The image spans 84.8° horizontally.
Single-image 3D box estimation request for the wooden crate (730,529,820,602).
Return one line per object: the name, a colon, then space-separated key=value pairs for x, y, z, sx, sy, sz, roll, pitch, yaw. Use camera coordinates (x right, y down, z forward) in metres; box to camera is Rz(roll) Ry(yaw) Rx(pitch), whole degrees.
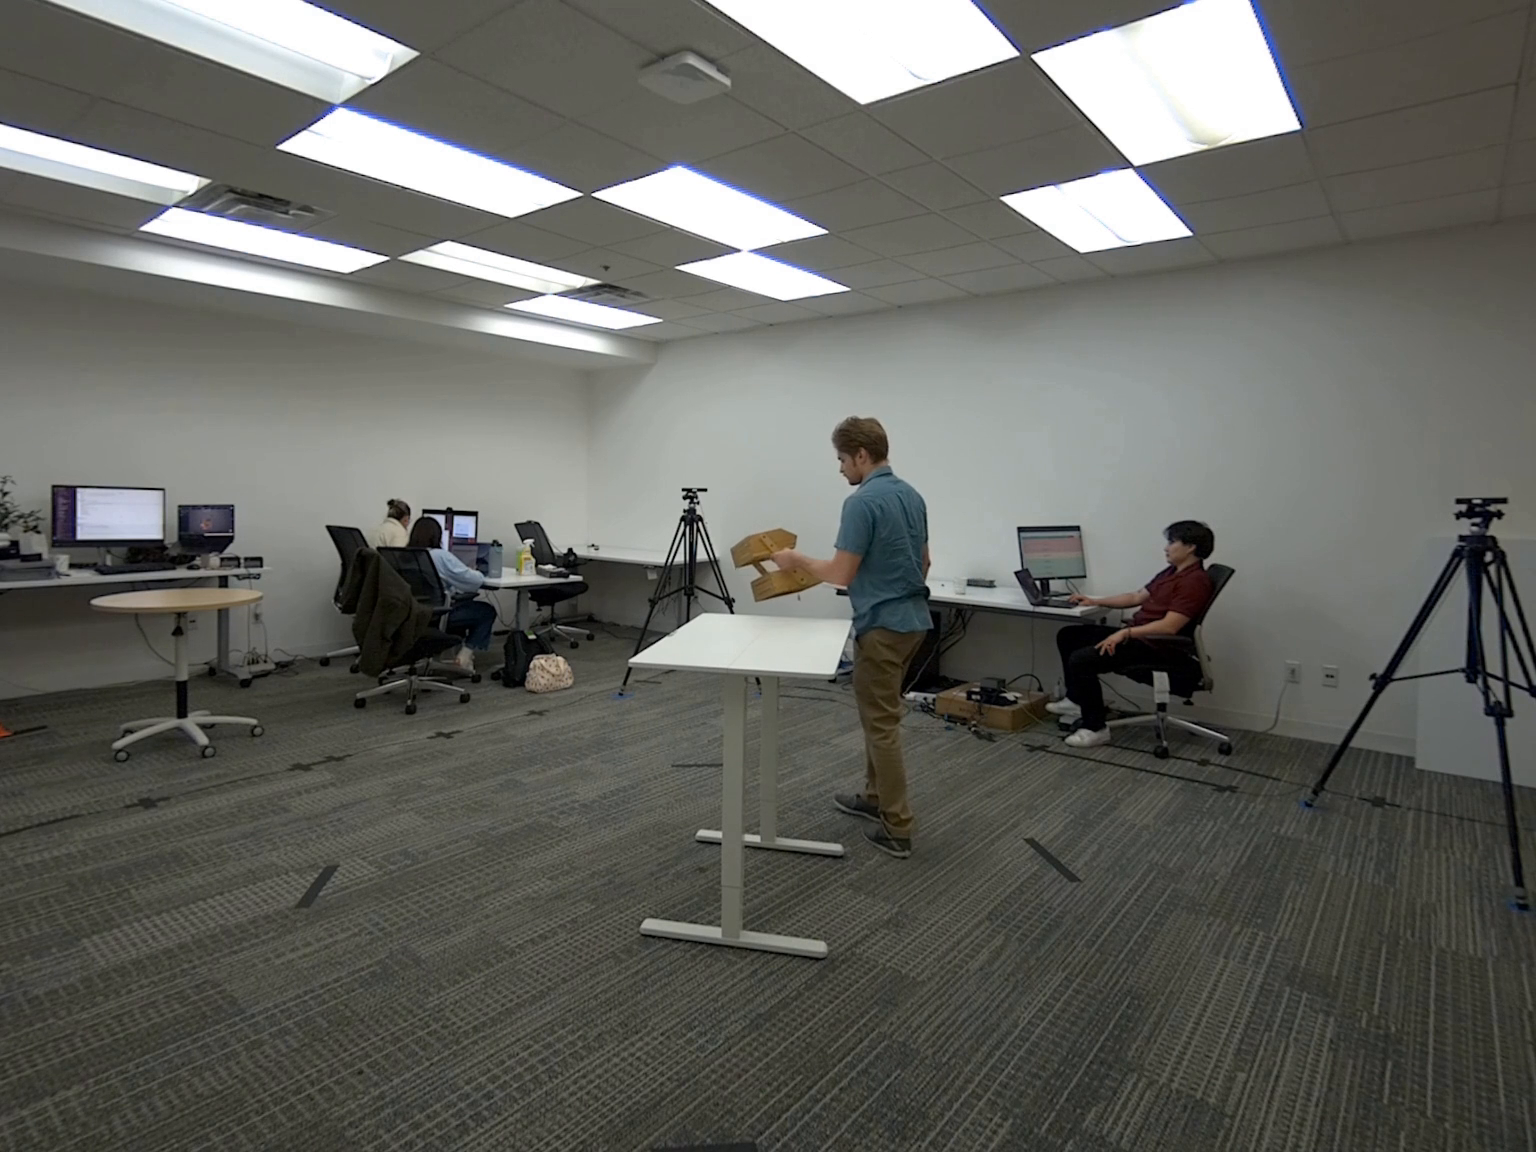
wooden crate: x=0.041 y=-0.063 z=3.701 sx=0.297 sy=0.276 sz=0.327 roll=-12 pitch=-6 yaw=-19
